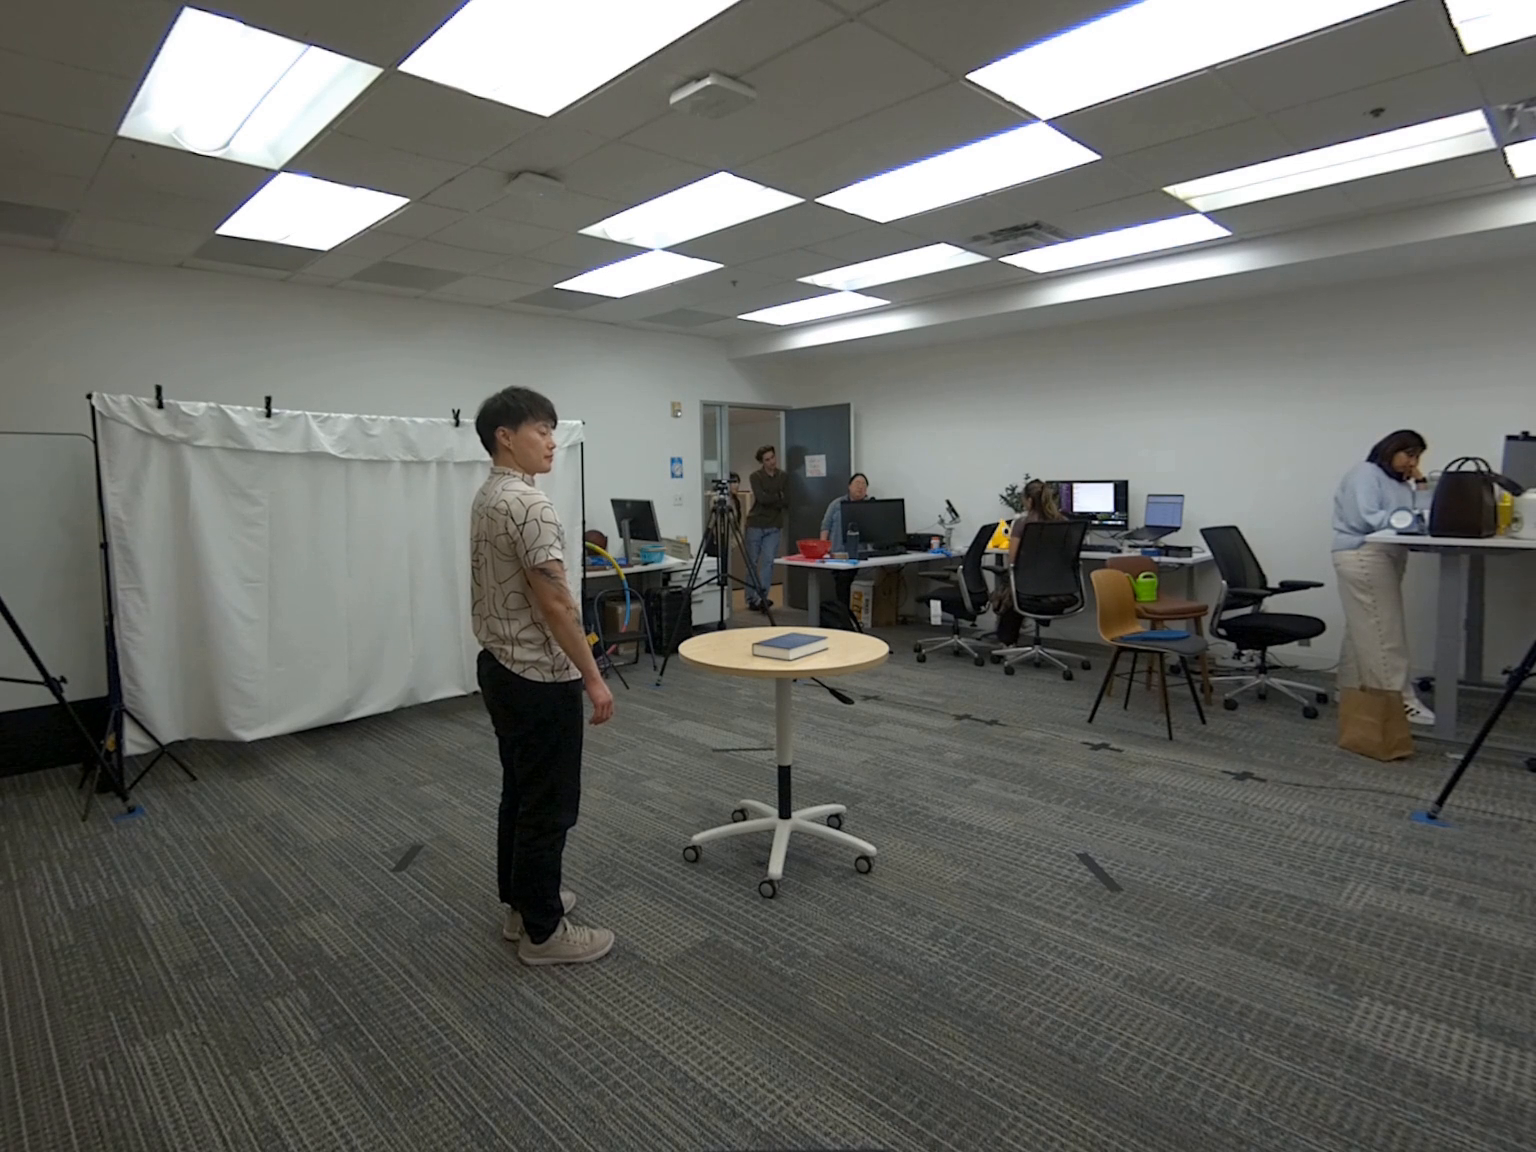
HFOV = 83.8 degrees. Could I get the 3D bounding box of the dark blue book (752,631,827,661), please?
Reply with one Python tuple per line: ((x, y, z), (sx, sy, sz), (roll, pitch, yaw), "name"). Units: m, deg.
((0.091, 0.249, 3.014), (0.168, 0.045, 0.239), (4, 8, 36), "dark blue book")
